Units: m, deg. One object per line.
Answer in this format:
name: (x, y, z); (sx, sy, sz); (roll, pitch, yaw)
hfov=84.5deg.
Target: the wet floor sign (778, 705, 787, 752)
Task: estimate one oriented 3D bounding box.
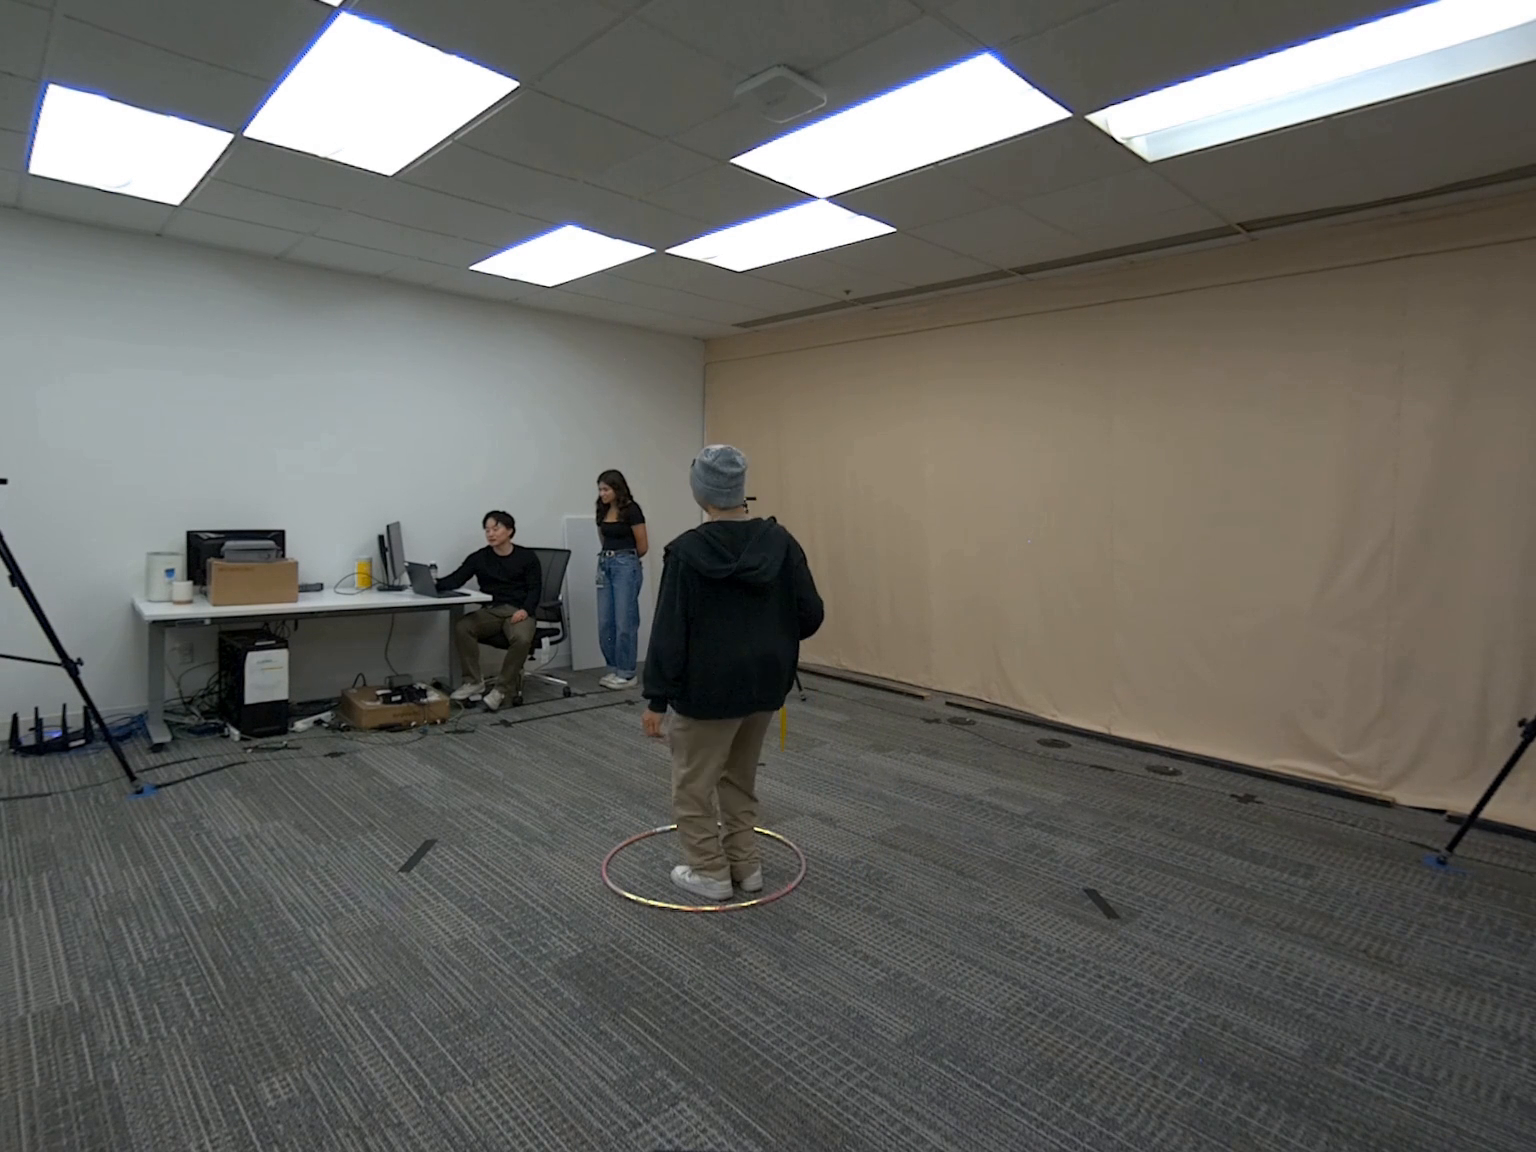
wet floor sign: (0.004, 0.393, 3.383); (0.288, 0.635, 0.288); (7, 40, -6)
